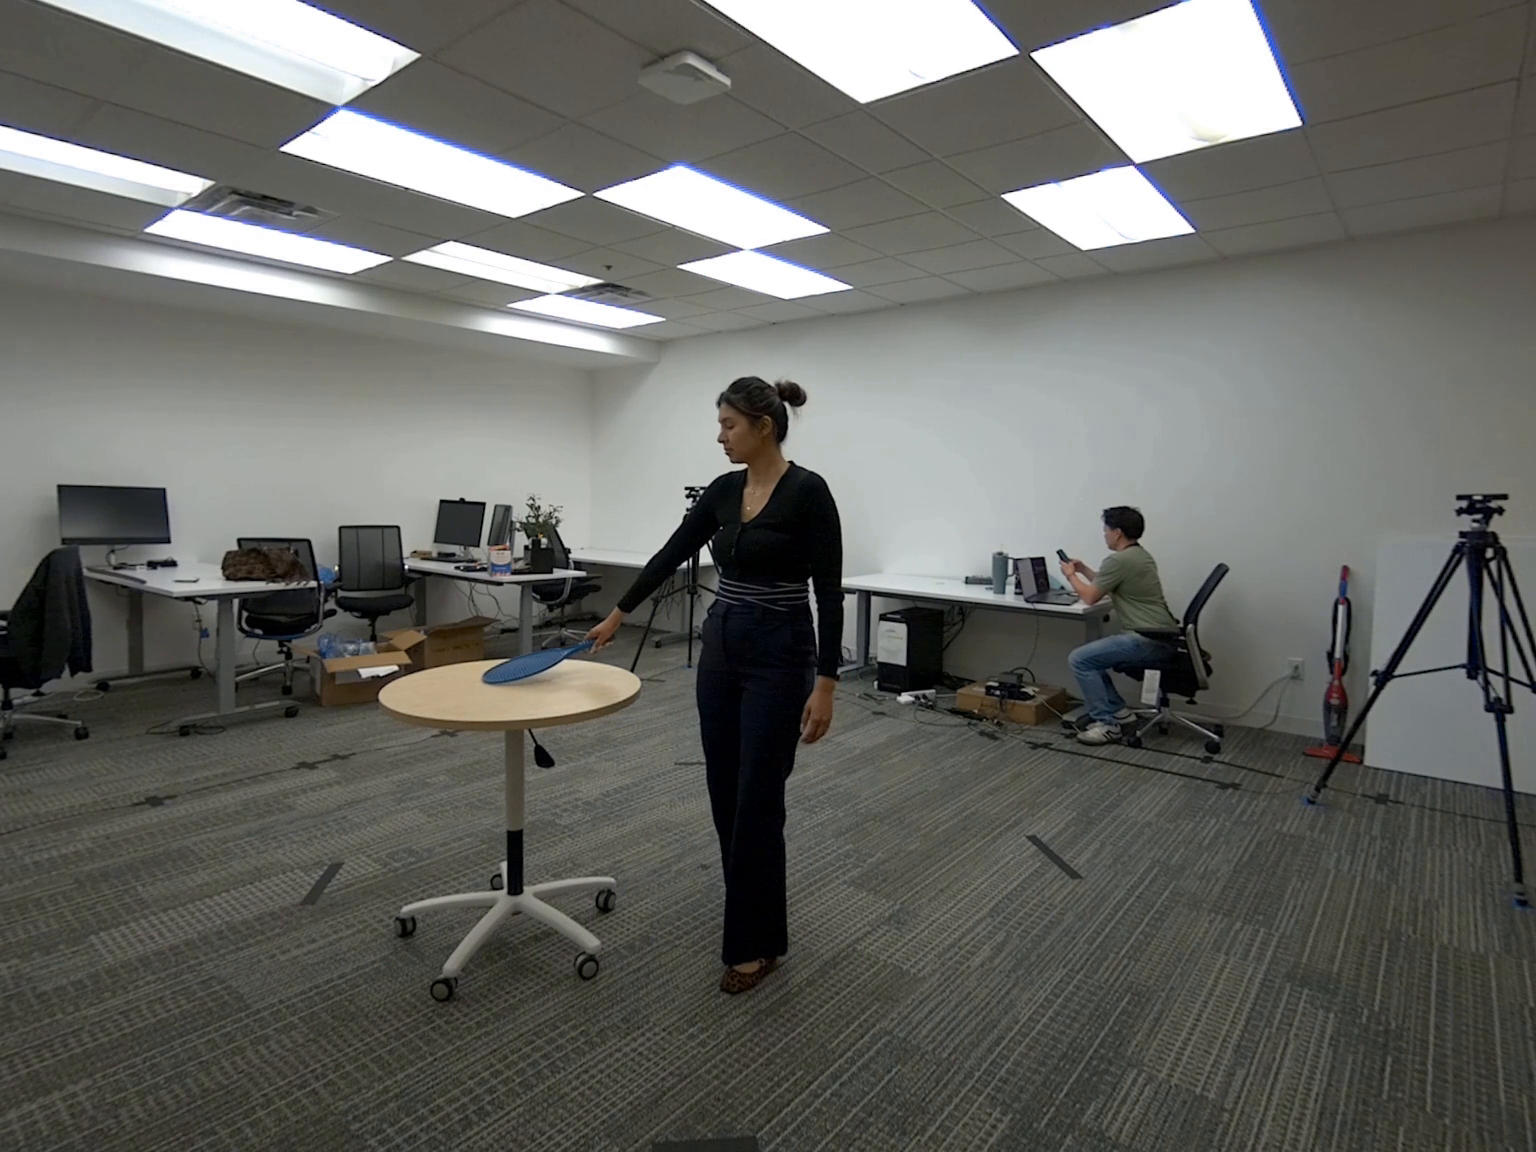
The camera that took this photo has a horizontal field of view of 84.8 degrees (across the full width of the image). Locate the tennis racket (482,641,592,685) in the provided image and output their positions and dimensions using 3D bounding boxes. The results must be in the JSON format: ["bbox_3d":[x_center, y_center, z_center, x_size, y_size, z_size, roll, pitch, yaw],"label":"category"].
[{"bbox_3d":[-0.708,0.264,2.680,0.426,0.031,0.220,-18,16,-25],"label":"tennis racket"}]
